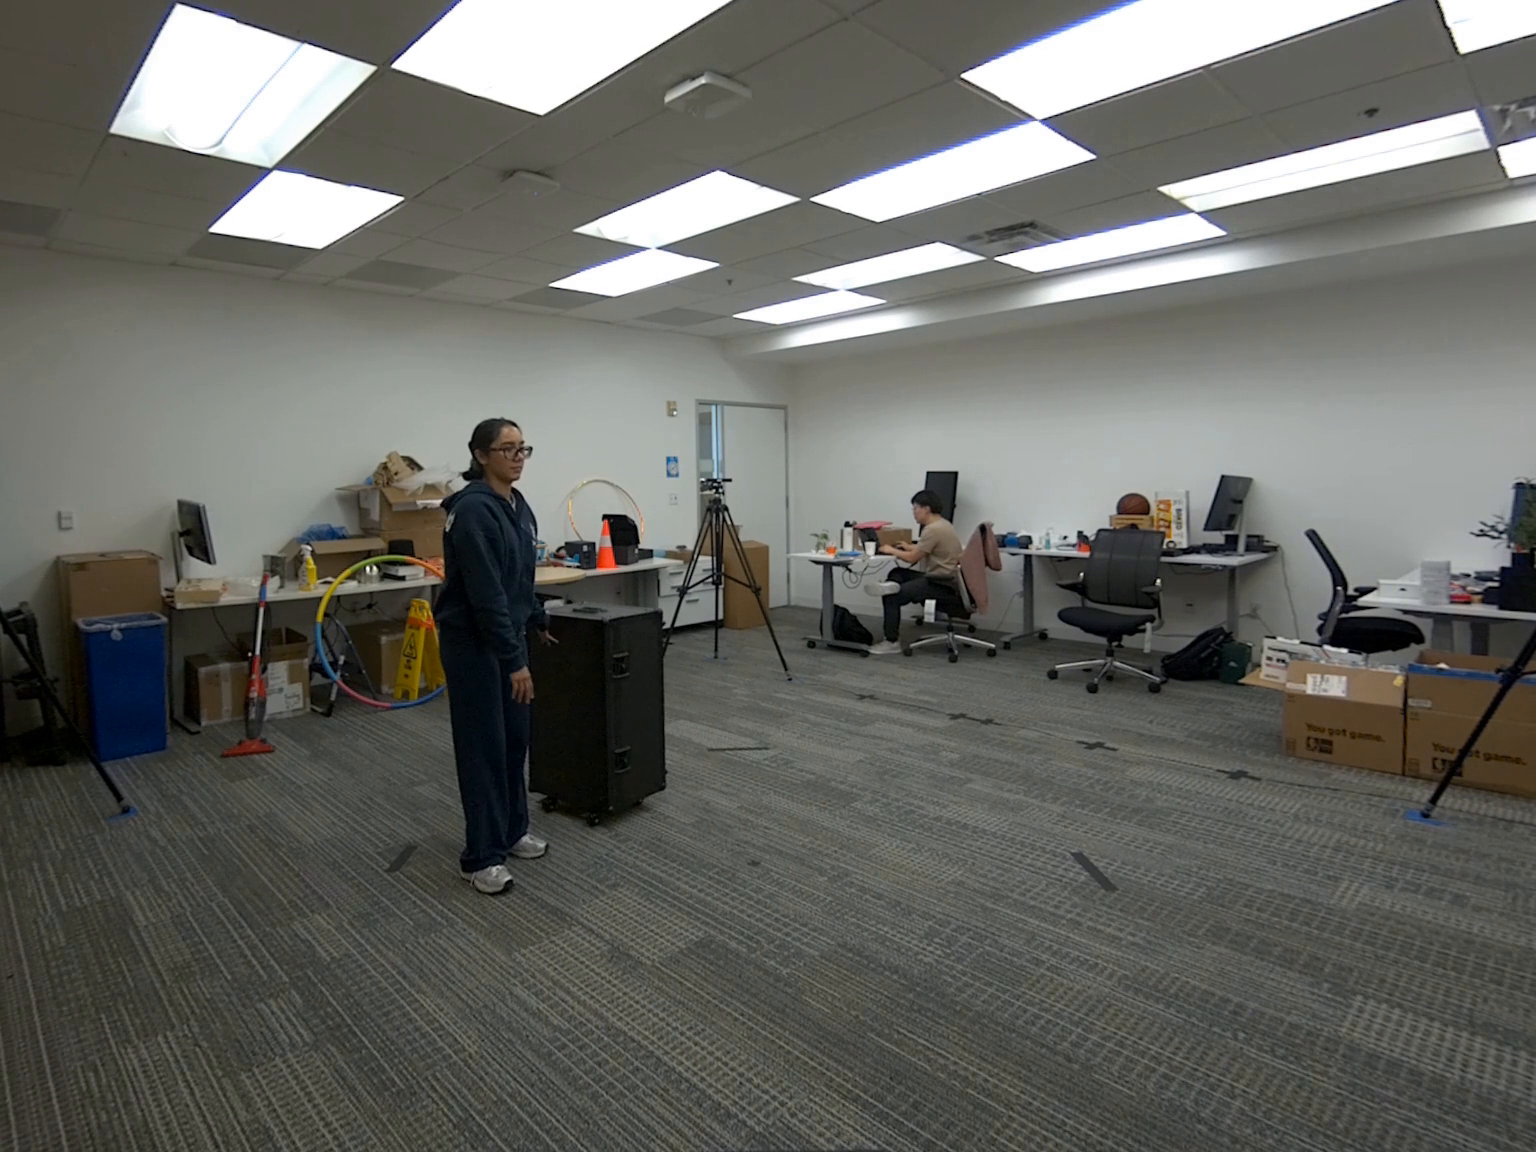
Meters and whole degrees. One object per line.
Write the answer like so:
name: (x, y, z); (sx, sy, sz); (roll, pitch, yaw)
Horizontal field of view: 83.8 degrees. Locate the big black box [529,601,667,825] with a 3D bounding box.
big black box: (-0.739, 0.568, 3.679); (0.536, 0.860, 0.386); (2, 3, 36)
